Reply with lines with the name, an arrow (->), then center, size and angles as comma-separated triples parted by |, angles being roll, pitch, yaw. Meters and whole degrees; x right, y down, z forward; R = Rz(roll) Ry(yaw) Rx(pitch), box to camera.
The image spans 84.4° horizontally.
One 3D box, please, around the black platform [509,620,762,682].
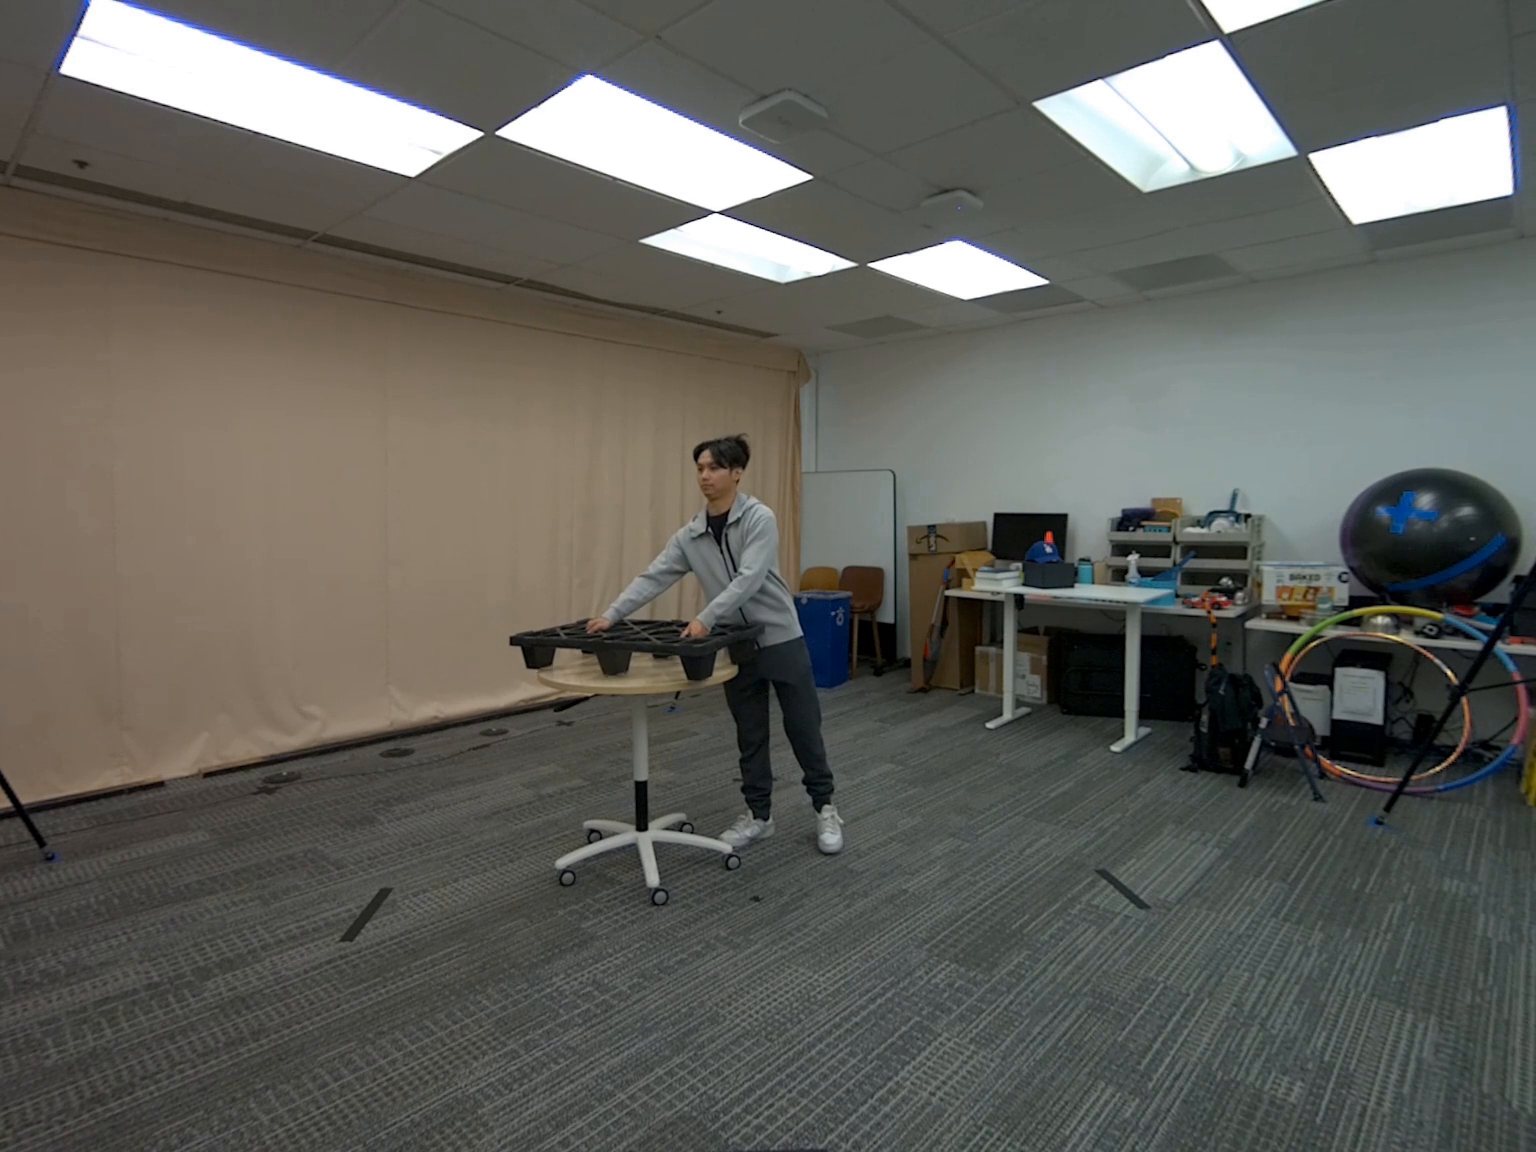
black platform -> -0.491, 0.259, 3.239 | 0.826, 0.143, 0.591 | 2, 3, 25
